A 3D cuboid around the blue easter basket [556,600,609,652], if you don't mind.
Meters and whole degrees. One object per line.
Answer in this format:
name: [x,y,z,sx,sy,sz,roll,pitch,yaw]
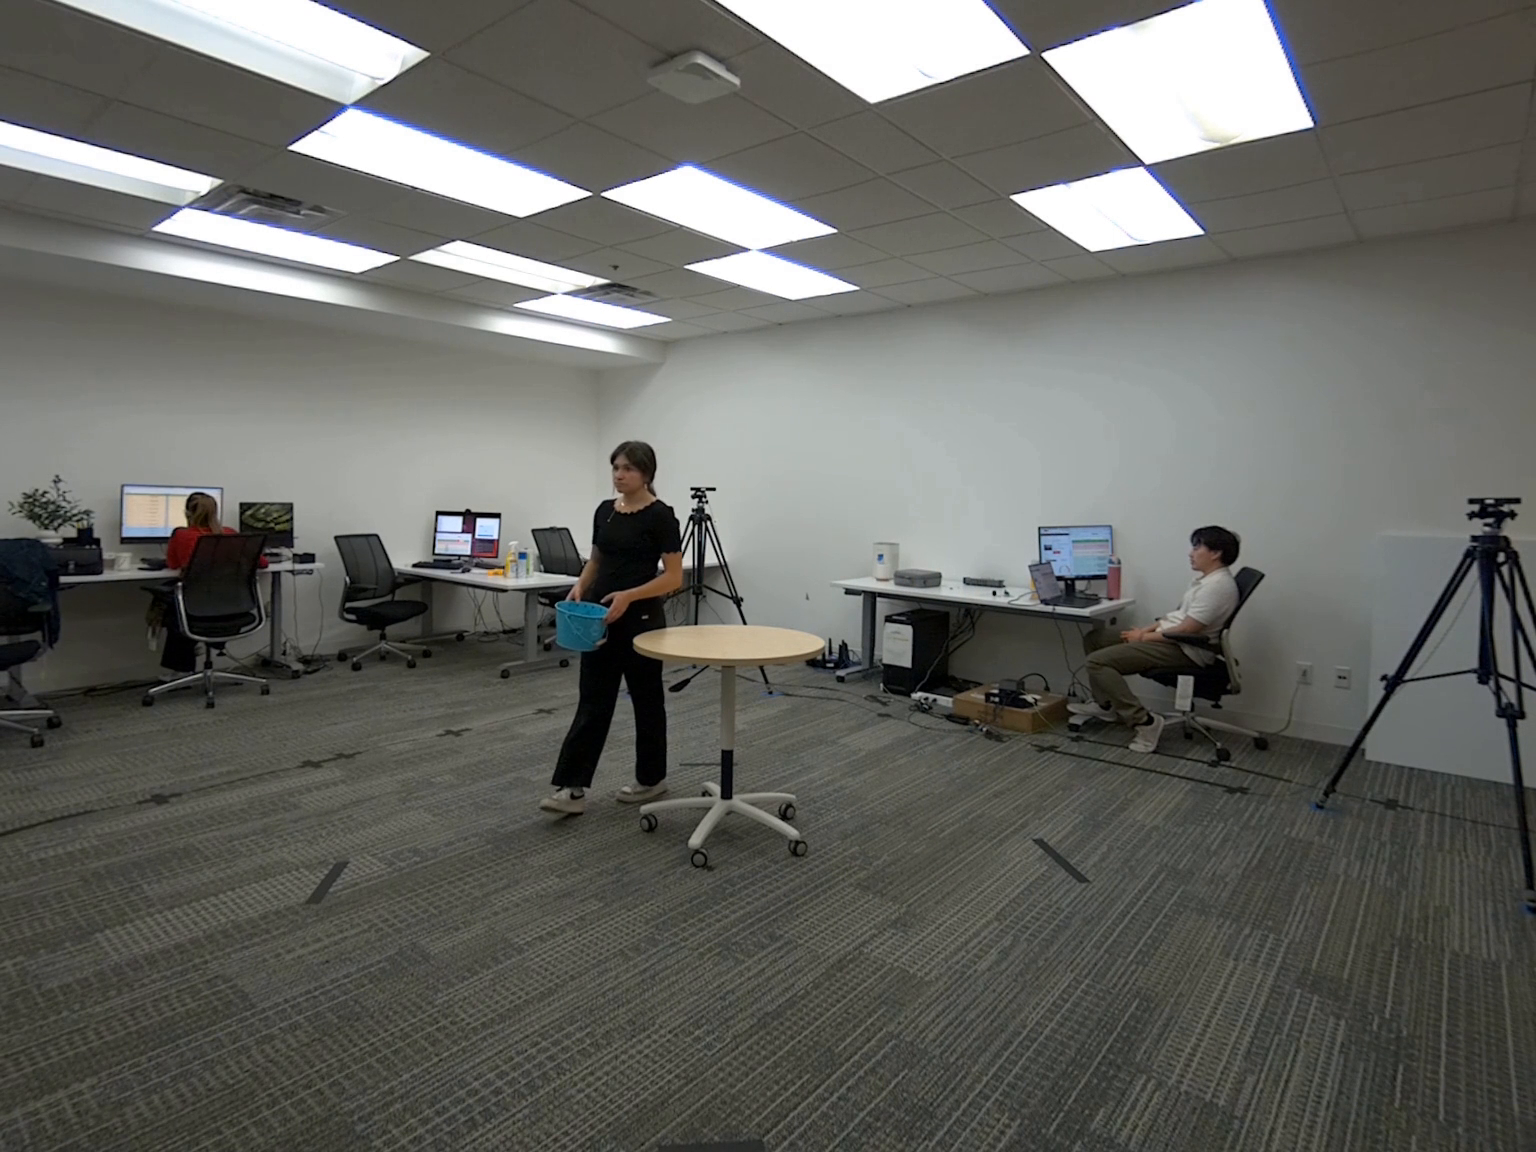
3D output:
blue easter basket: [-0.793,0.208,3.527,0.243,0.155,0.246,8,8,-3]
